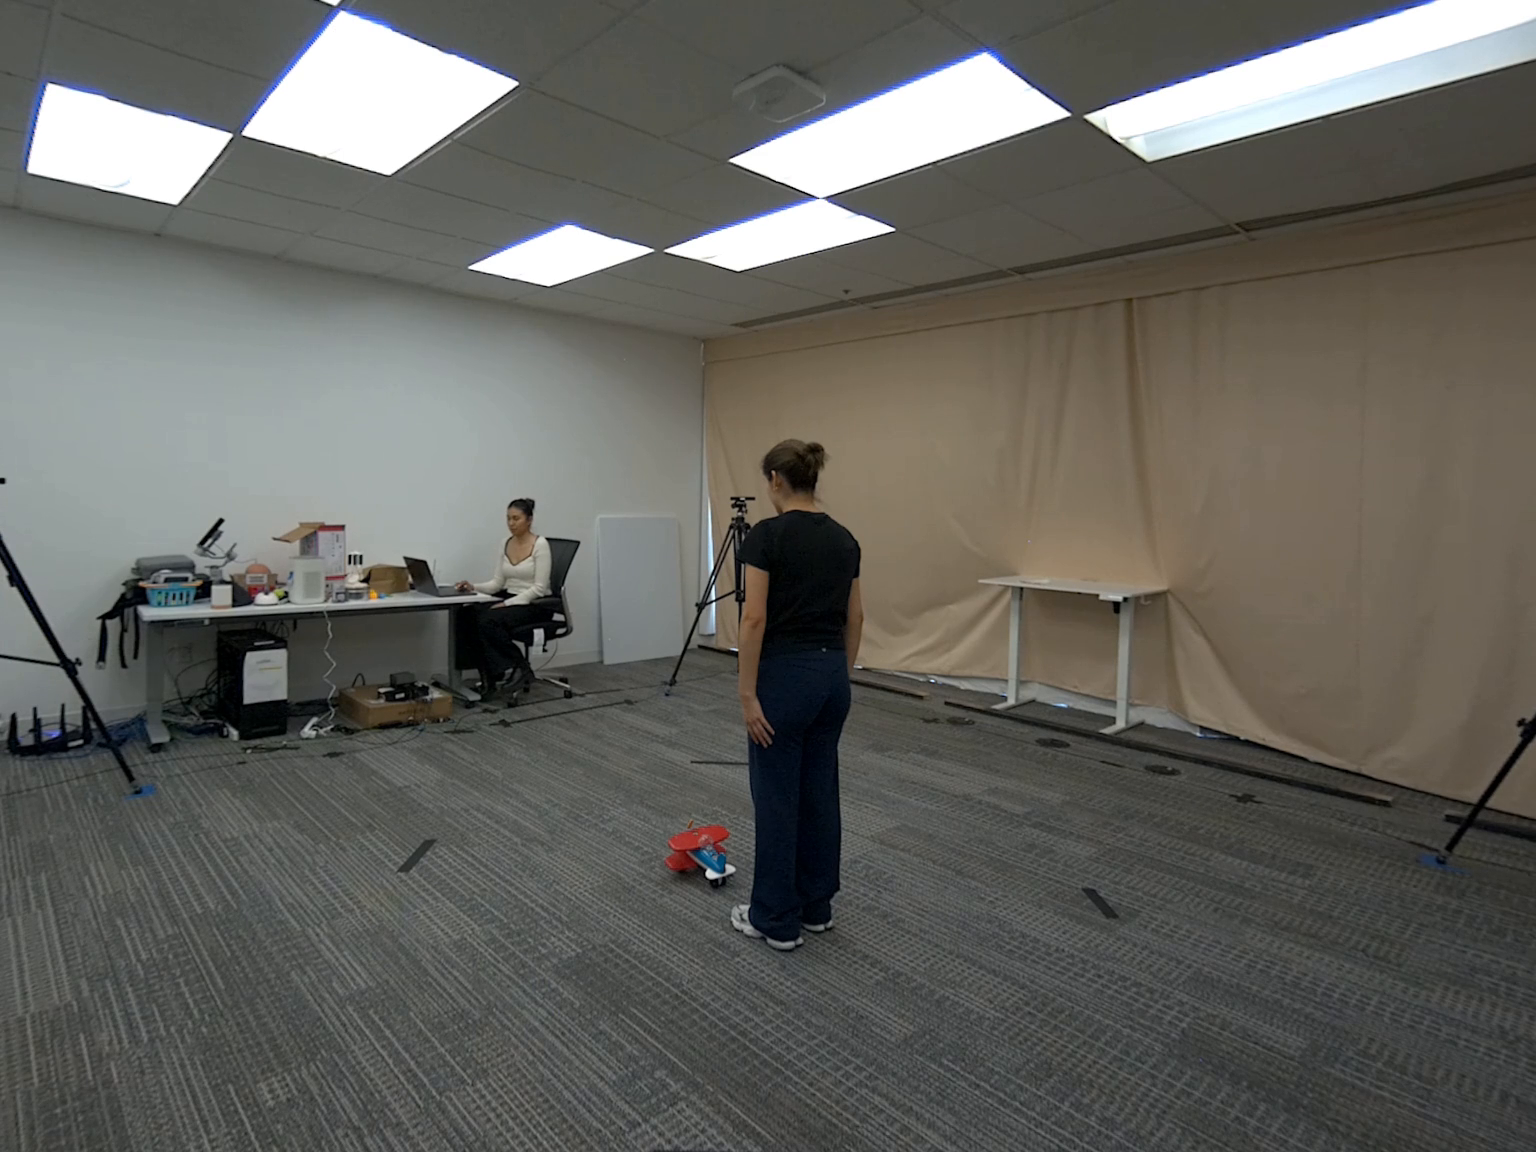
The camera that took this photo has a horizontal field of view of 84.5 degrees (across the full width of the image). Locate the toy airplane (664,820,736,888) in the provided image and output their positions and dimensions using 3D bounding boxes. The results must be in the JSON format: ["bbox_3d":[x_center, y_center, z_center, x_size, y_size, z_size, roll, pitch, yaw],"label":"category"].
[{"bbox_3d":[-0.229,1.030,3.087,0.264,0.156,0.247,1,5,22],"label":"toy airplane"}]
